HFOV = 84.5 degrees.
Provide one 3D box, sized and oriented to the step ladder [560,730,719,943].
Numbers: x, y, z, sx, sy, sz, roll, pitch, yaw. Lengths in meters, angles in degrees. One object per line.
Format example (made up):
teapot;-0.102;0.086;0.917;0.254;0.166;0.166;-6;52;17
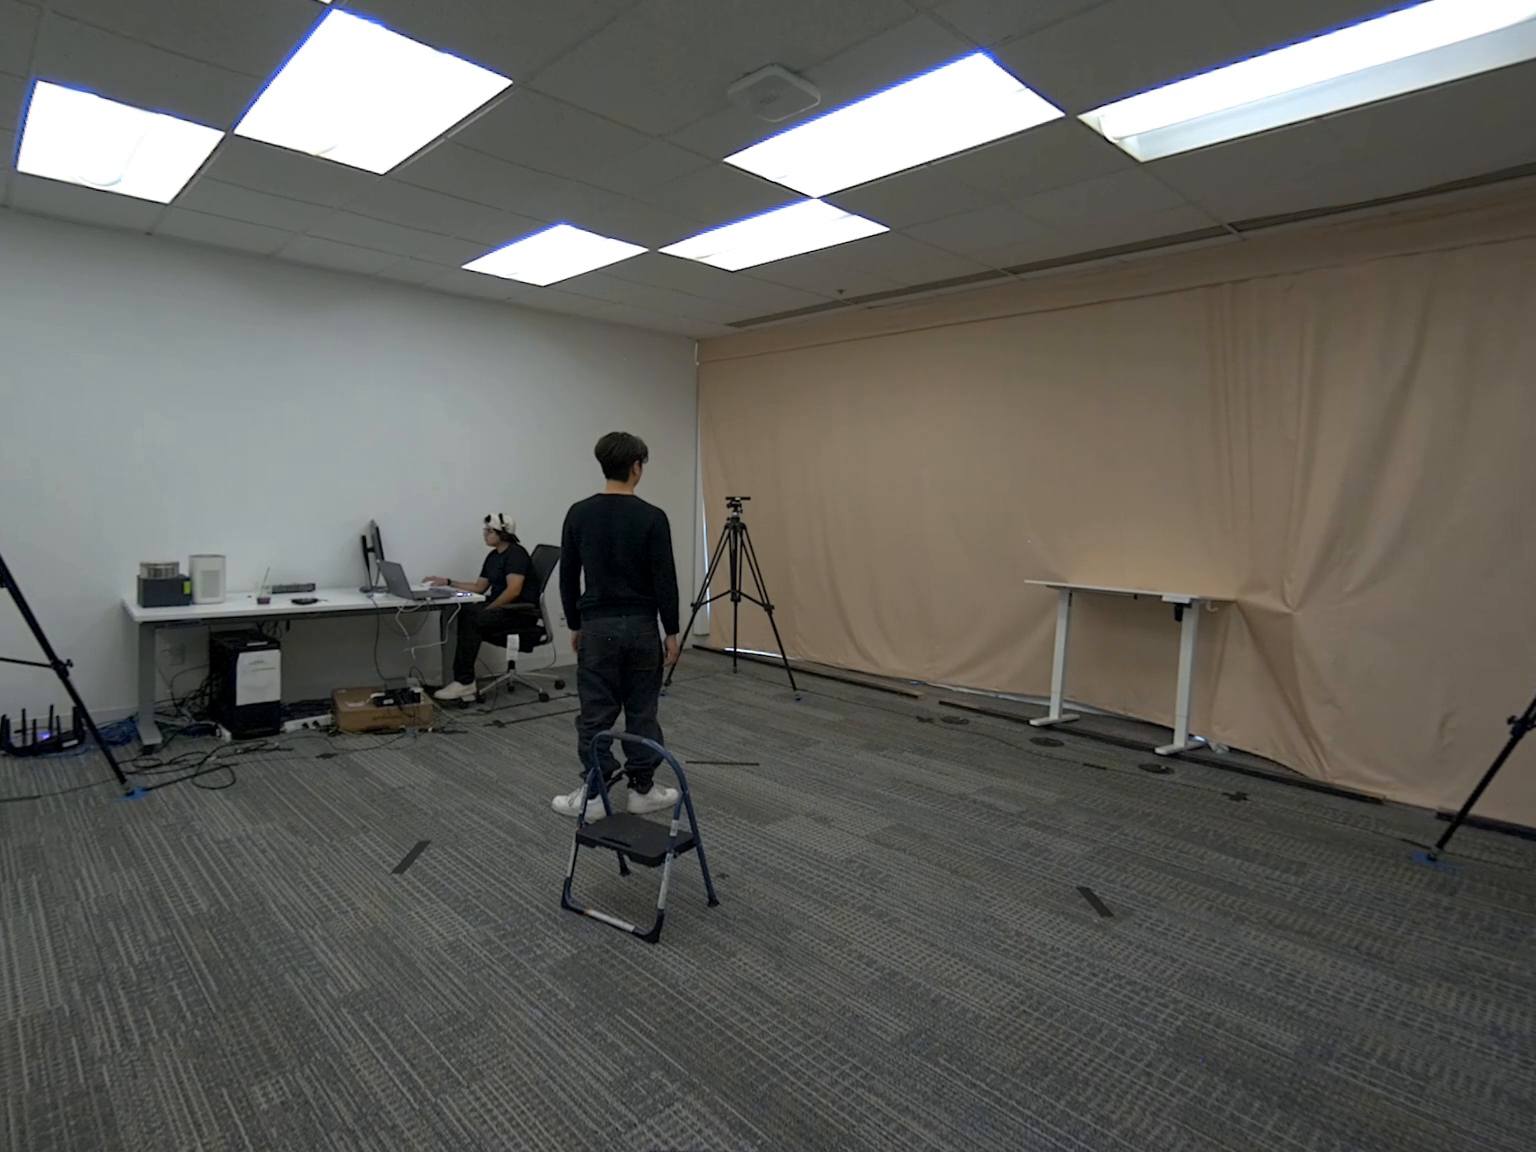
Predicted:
step ladder;-0.434;0.820;2.852;0.440;0.605;0.342;3;4;32
